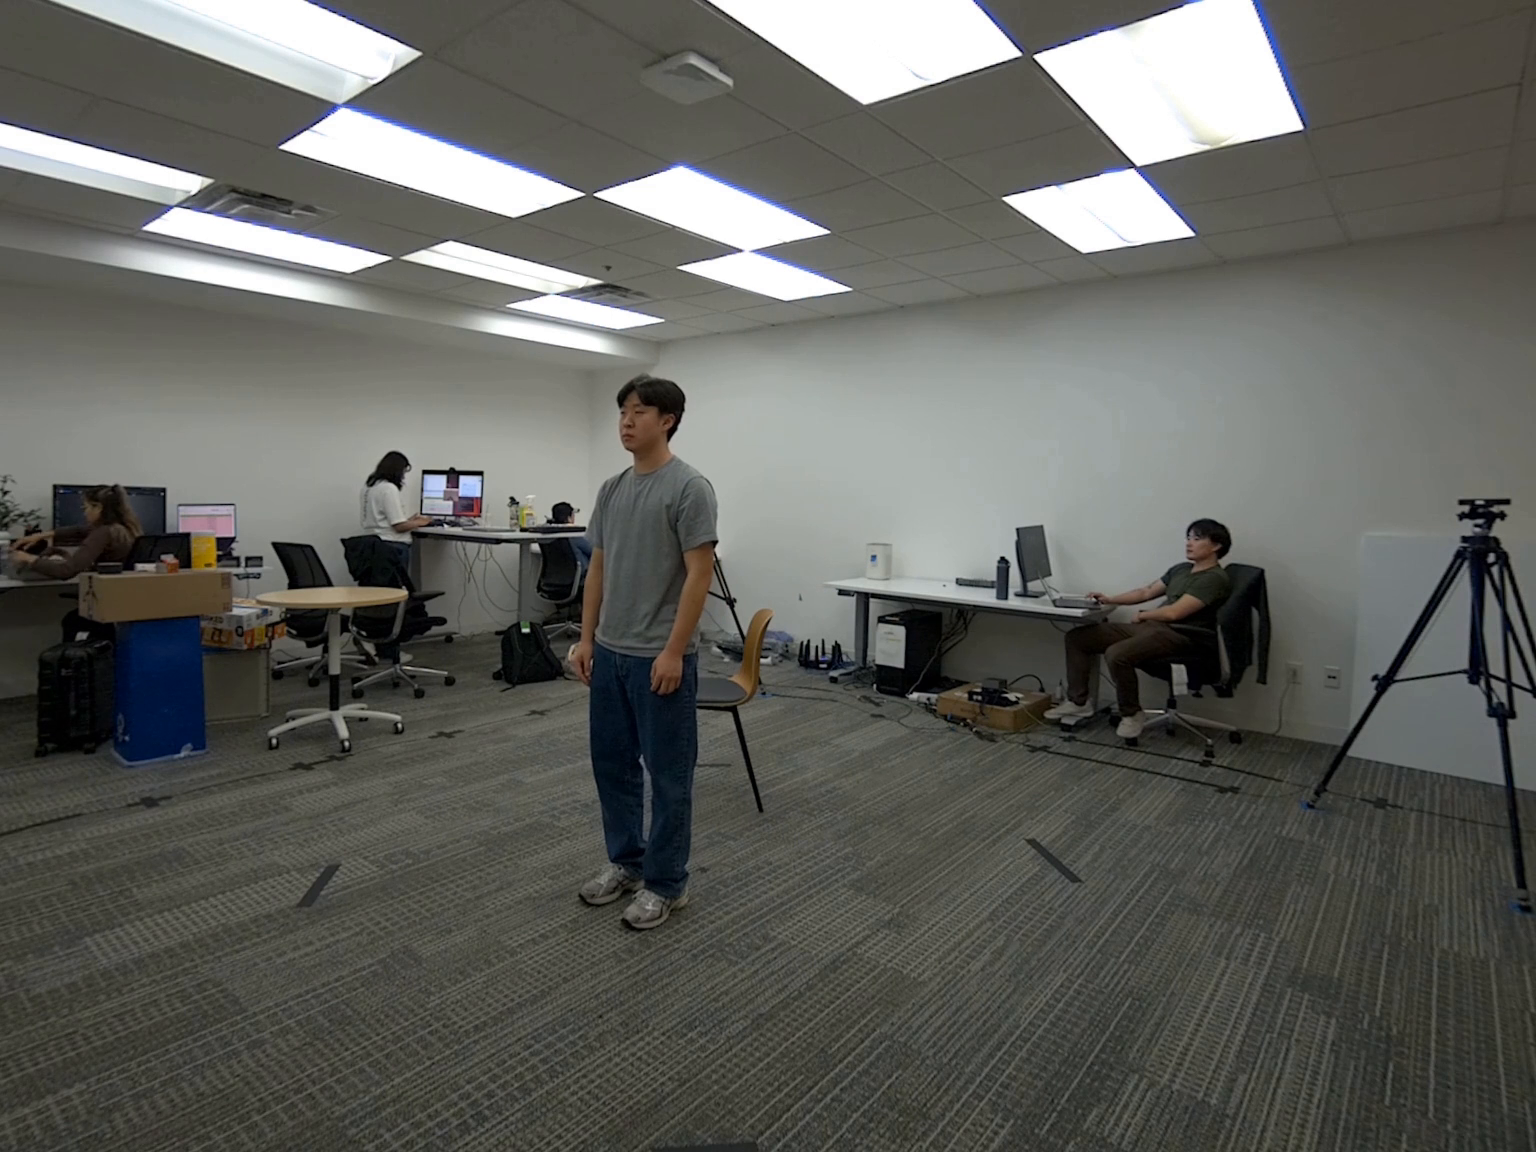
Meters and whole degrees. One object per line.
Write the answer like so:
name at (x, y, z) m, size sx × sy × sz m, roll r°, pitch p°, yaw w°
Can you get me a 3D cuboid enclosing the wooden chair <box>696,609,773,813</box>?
wooden chair at (-0.282, 0.572, 3.852) m, size 0.520 × 0.875 × 0.482 m, roll 4°, pitch 4°, yaw -6°
